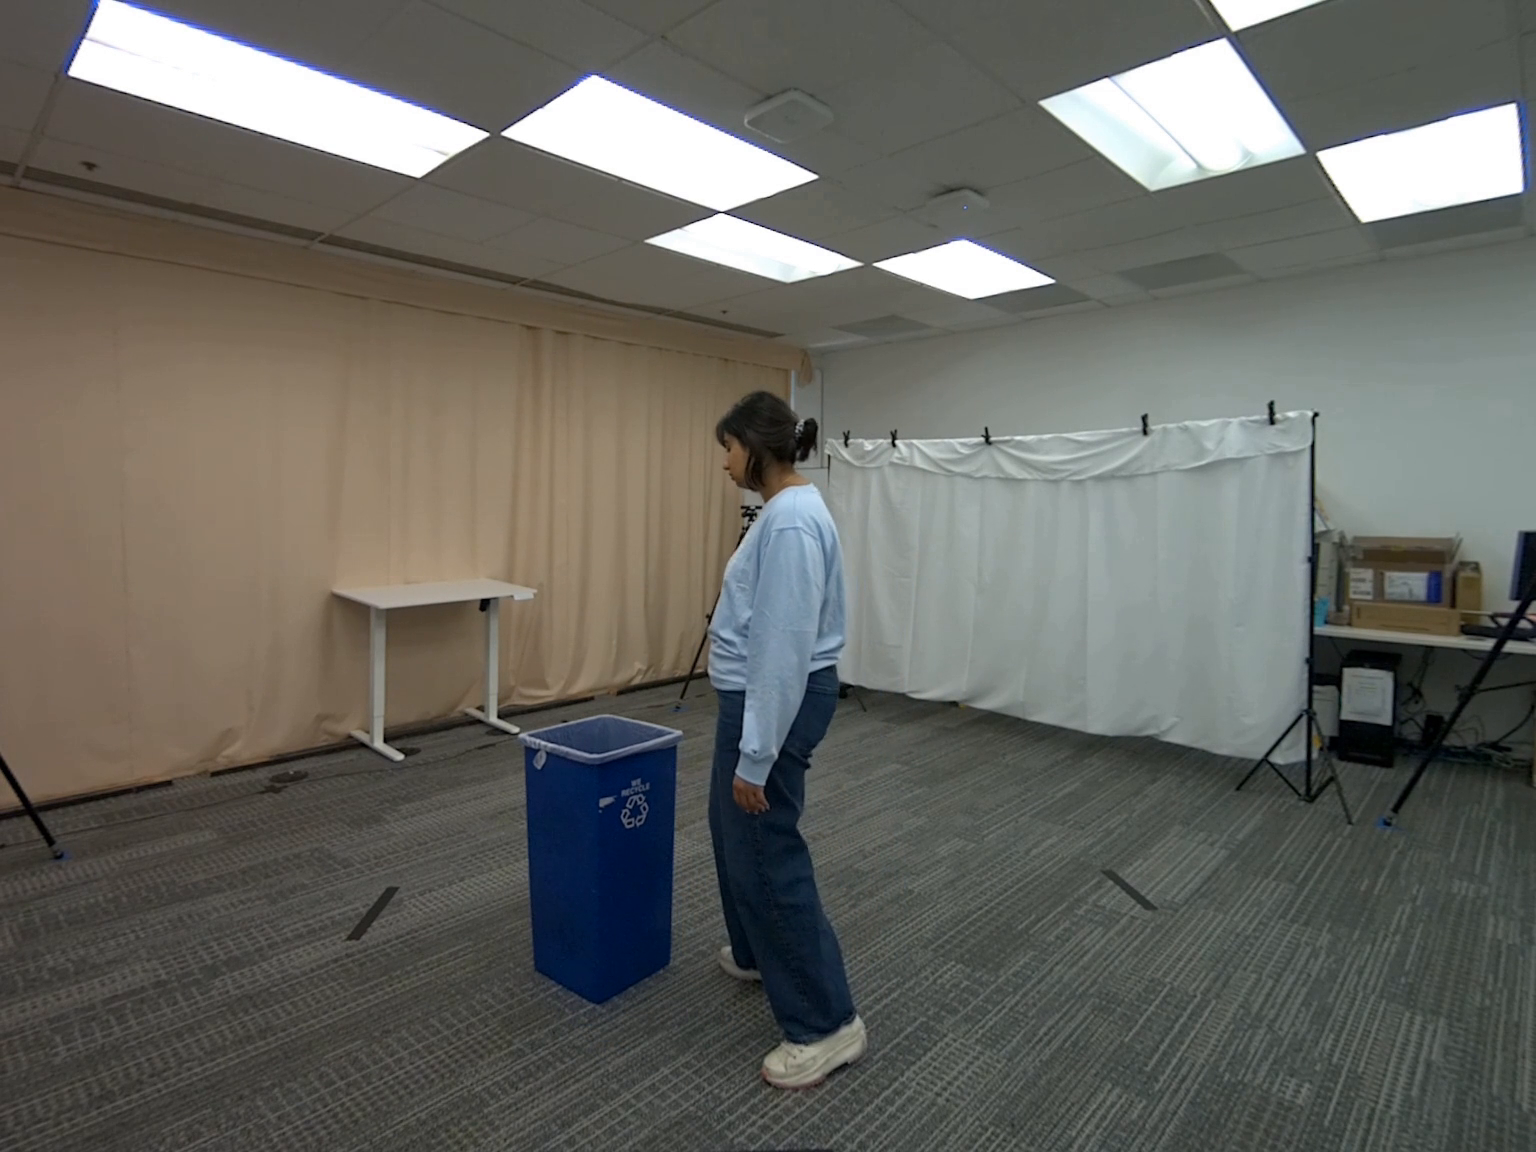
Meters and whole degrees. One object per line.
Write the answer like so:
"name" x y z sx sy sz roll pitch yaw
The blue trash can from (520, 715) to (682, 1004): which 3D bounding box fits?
"blue trash can" -0.492 0.828 2.539 0.386 0.712 0.366 2 3 38
